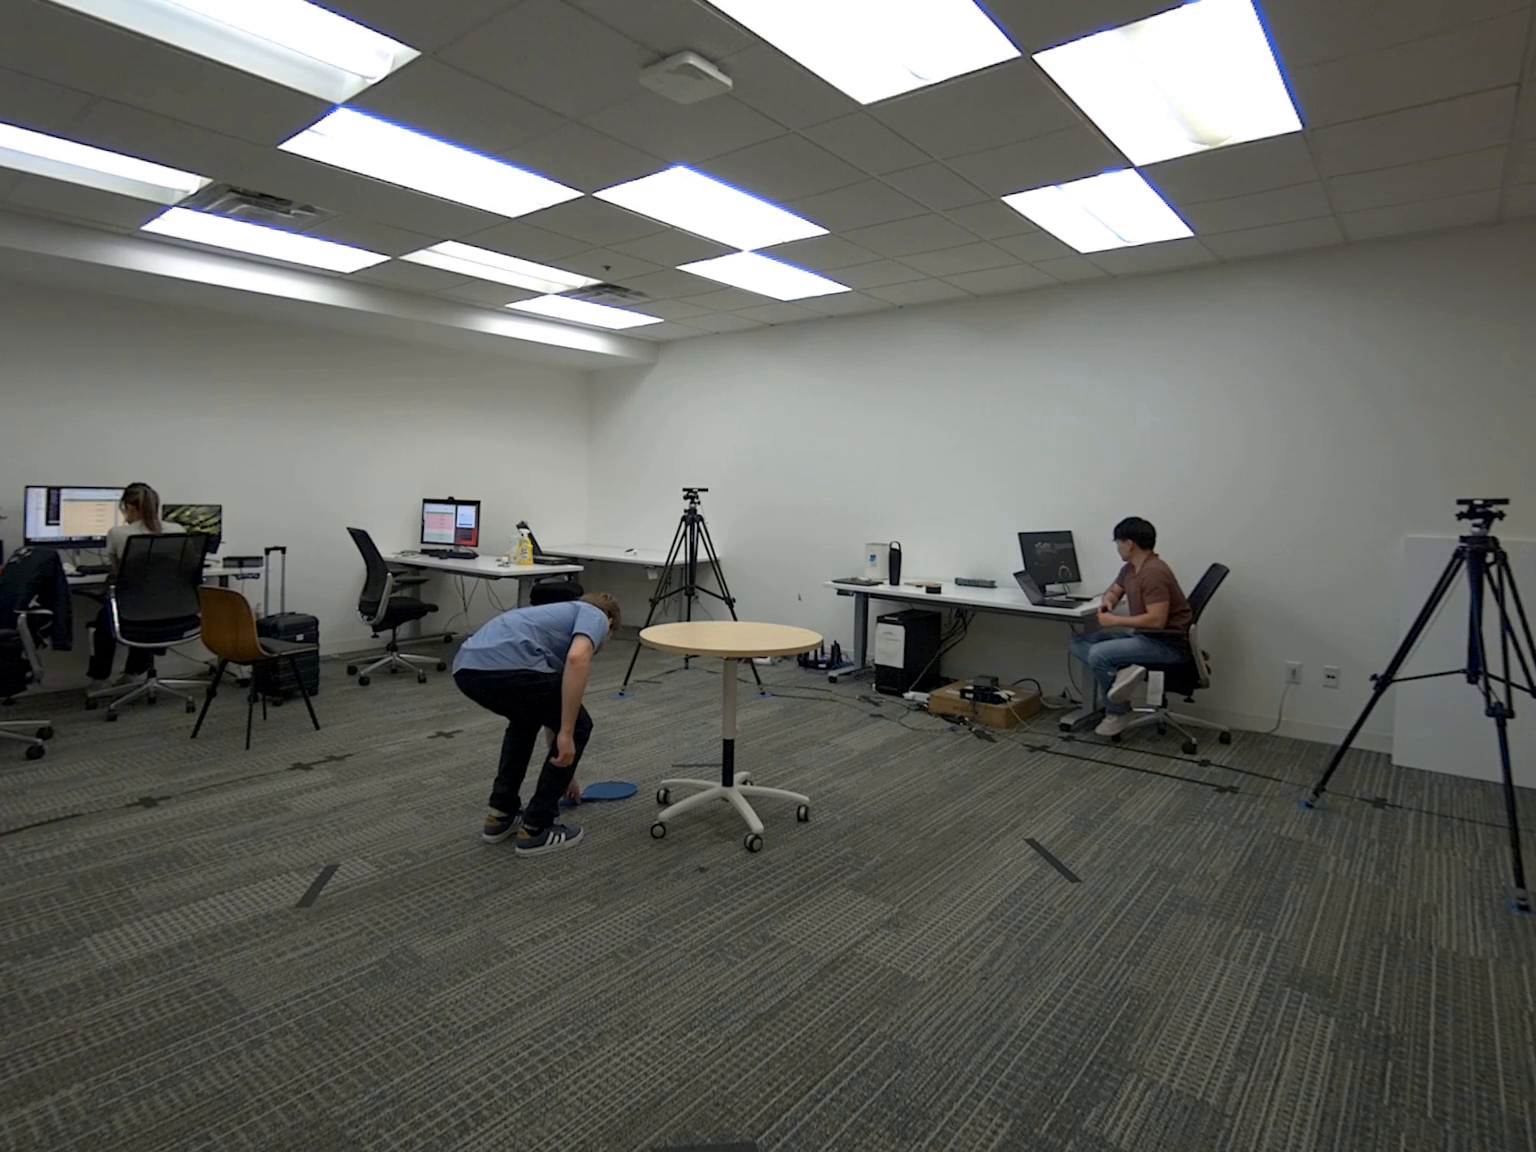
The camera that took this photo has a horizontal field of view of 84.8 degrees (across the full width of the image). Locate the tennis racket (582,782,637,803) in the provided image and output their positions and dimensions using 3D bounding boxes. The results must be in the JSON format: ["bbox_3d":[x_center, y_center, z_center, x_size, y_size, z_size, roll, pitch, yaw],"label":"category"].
[{"bbox_3d":[-0.787,0.979,3.824,0.221,0.031,0.420,6,6,39],"label":"tennis racket"}]
